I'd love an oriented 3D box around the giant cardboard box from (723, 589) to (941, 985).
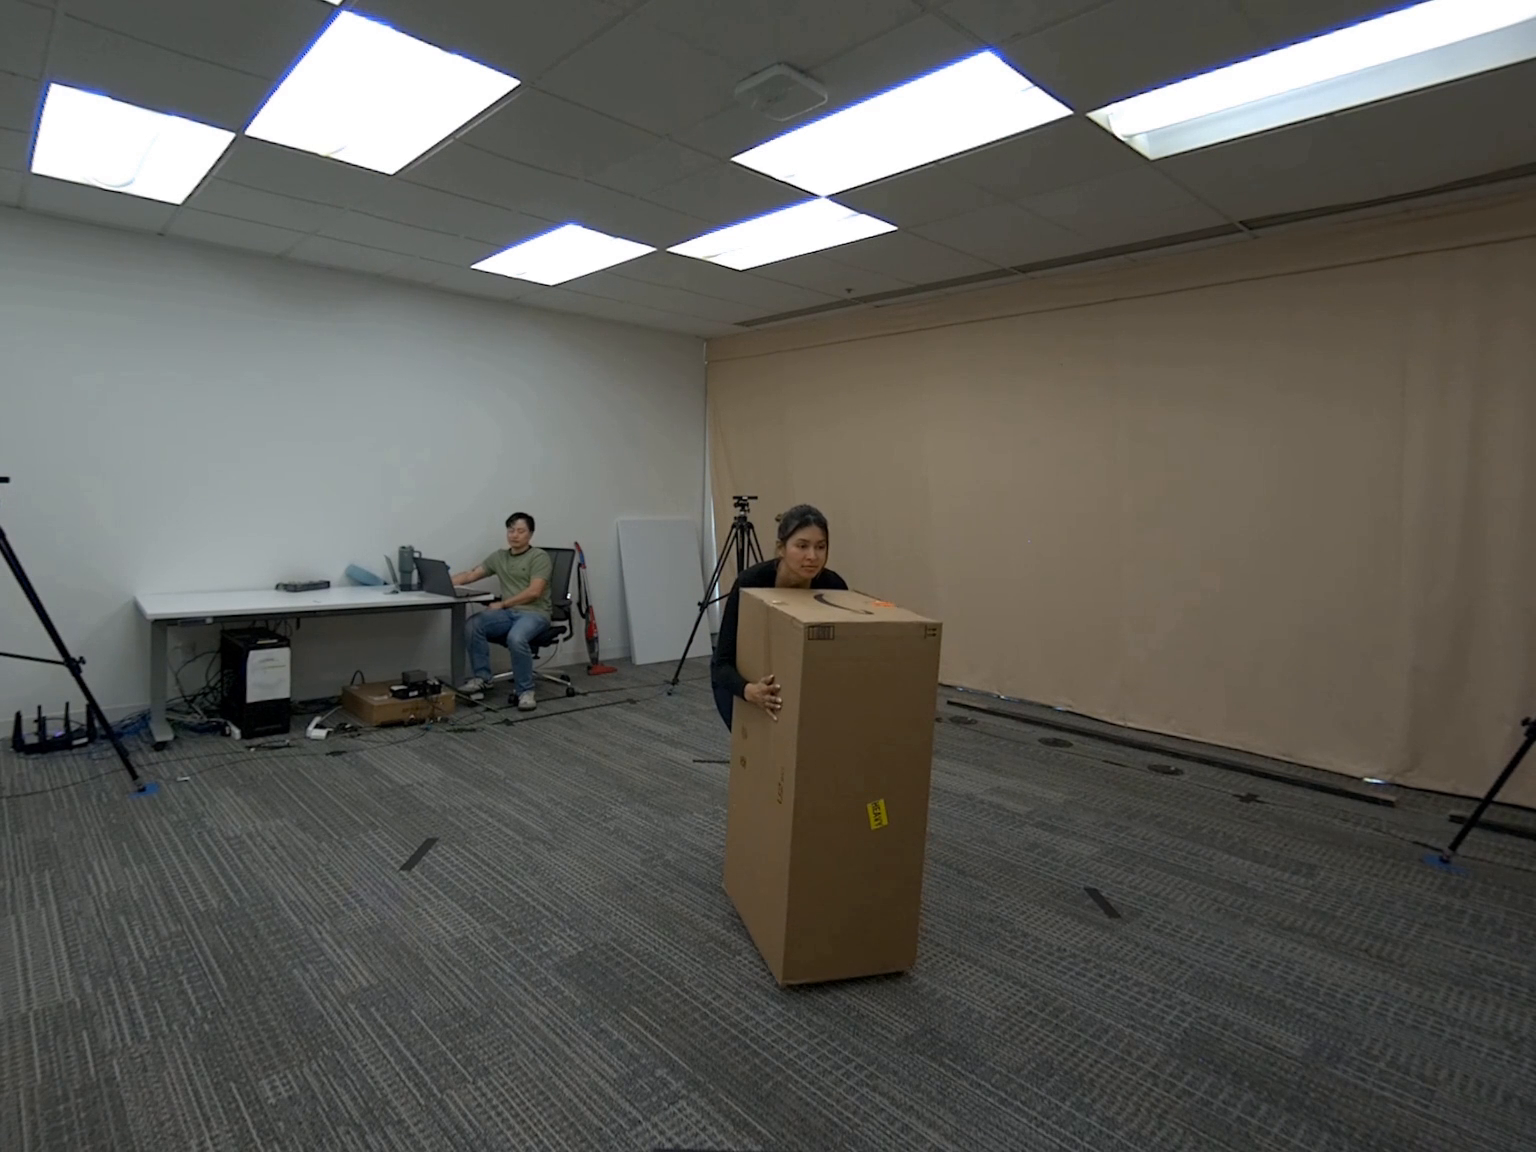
[{"bbox_3d":[0.168,0.596,2.605,0.420,1.022,0.588,2,6,-18],"label":"giant cardboard box"}]
